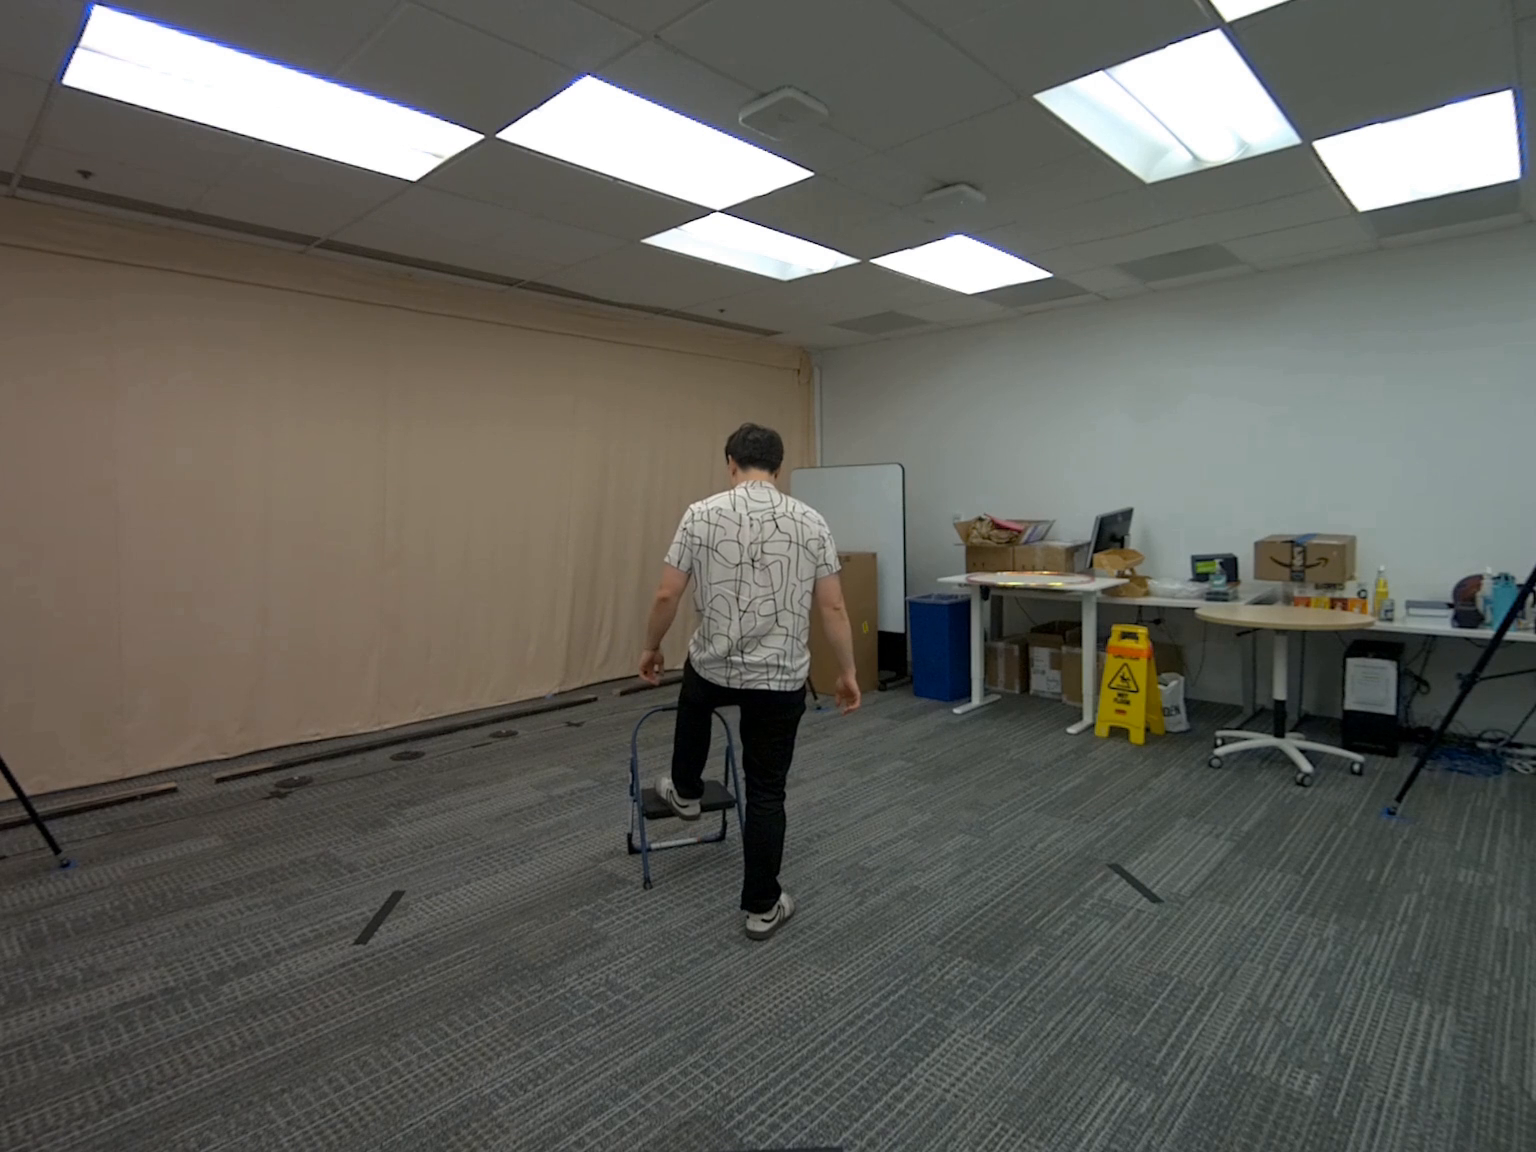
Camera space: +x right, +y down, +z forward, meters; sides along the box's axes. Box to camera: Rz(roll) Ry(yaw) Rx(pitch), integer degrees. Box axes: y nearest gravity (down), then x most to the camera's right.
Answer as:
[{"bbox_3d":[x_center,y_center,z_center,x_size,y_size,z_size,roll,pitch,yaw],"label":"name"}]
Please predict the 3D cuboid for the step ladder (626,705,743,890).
[{"bbox_3d":[-0.319,0.817,3.284,0.422,0.605,0.357,-2,3,-20],"label":"step ladder"}]
